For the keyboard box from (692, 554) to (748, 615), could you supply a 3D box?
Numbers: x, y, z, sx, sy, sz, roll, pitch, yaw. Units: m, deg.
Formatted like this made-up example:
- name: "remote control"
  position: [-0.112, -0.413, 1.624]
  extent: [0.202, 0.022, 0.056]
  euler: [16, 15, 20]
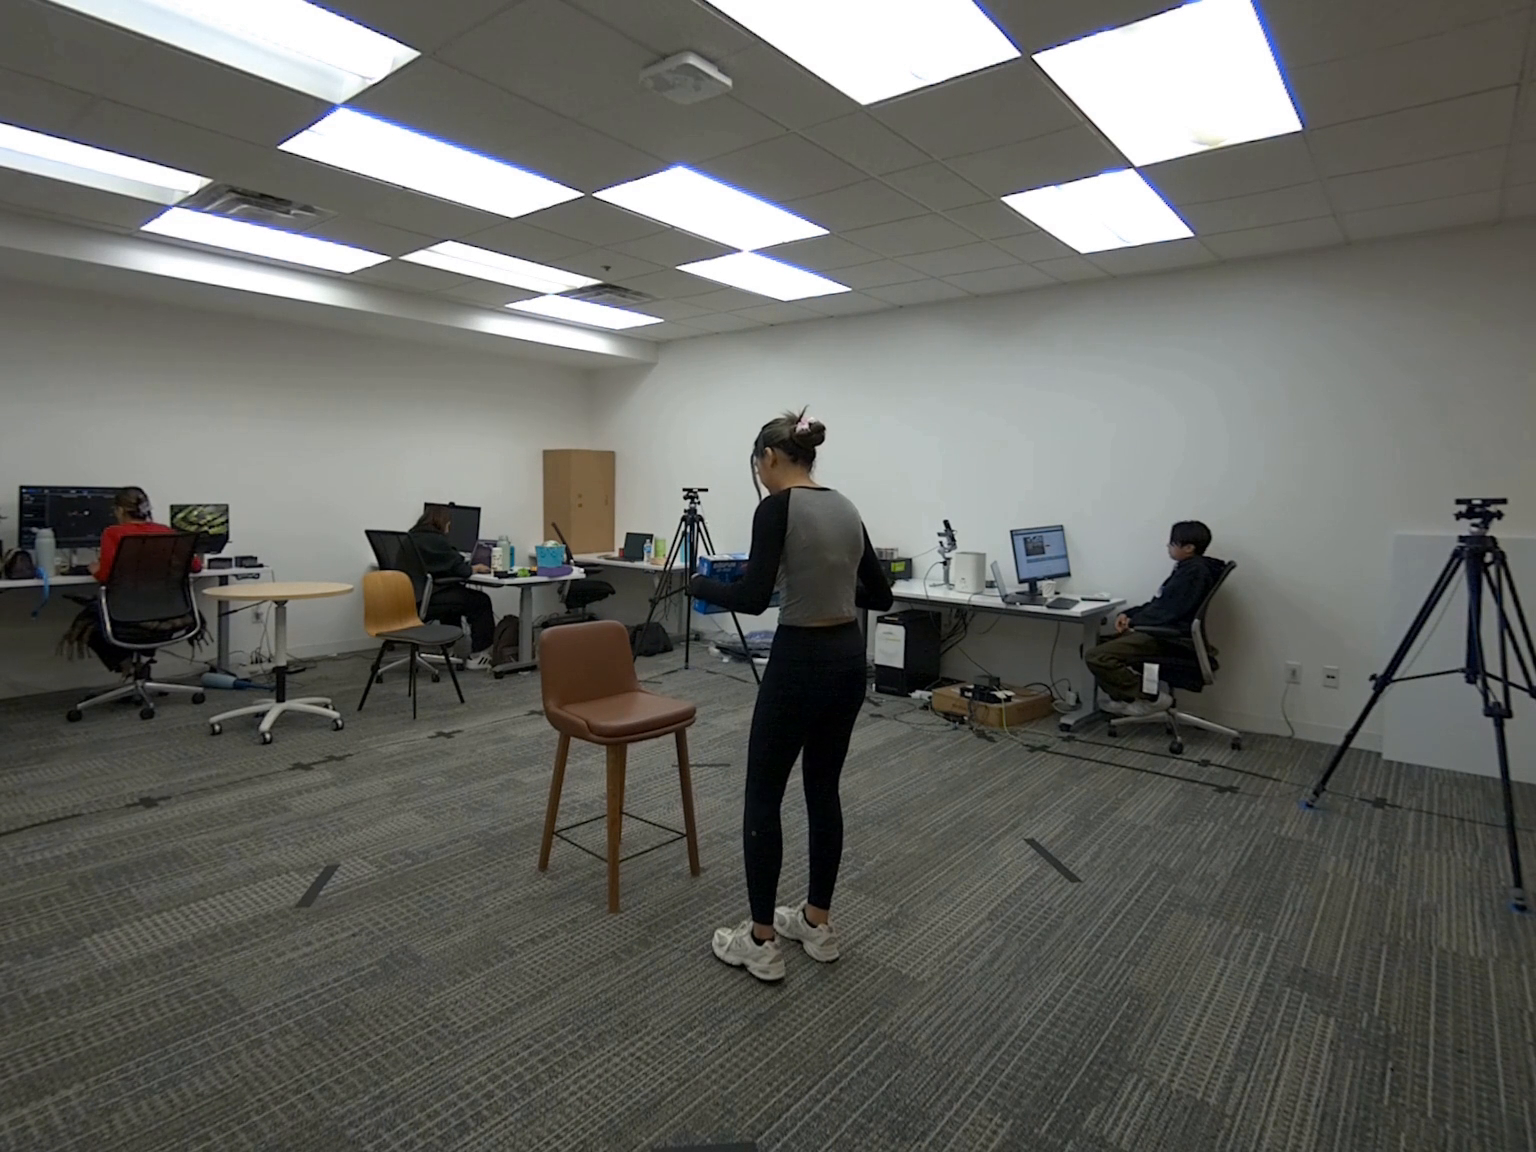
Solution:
- name: "keyboard box"
  position: [-0.053, 0.017, 2.719]
  extent: [0.424, 0.174, 0.061]
  euler: [-4, 15, -40]
